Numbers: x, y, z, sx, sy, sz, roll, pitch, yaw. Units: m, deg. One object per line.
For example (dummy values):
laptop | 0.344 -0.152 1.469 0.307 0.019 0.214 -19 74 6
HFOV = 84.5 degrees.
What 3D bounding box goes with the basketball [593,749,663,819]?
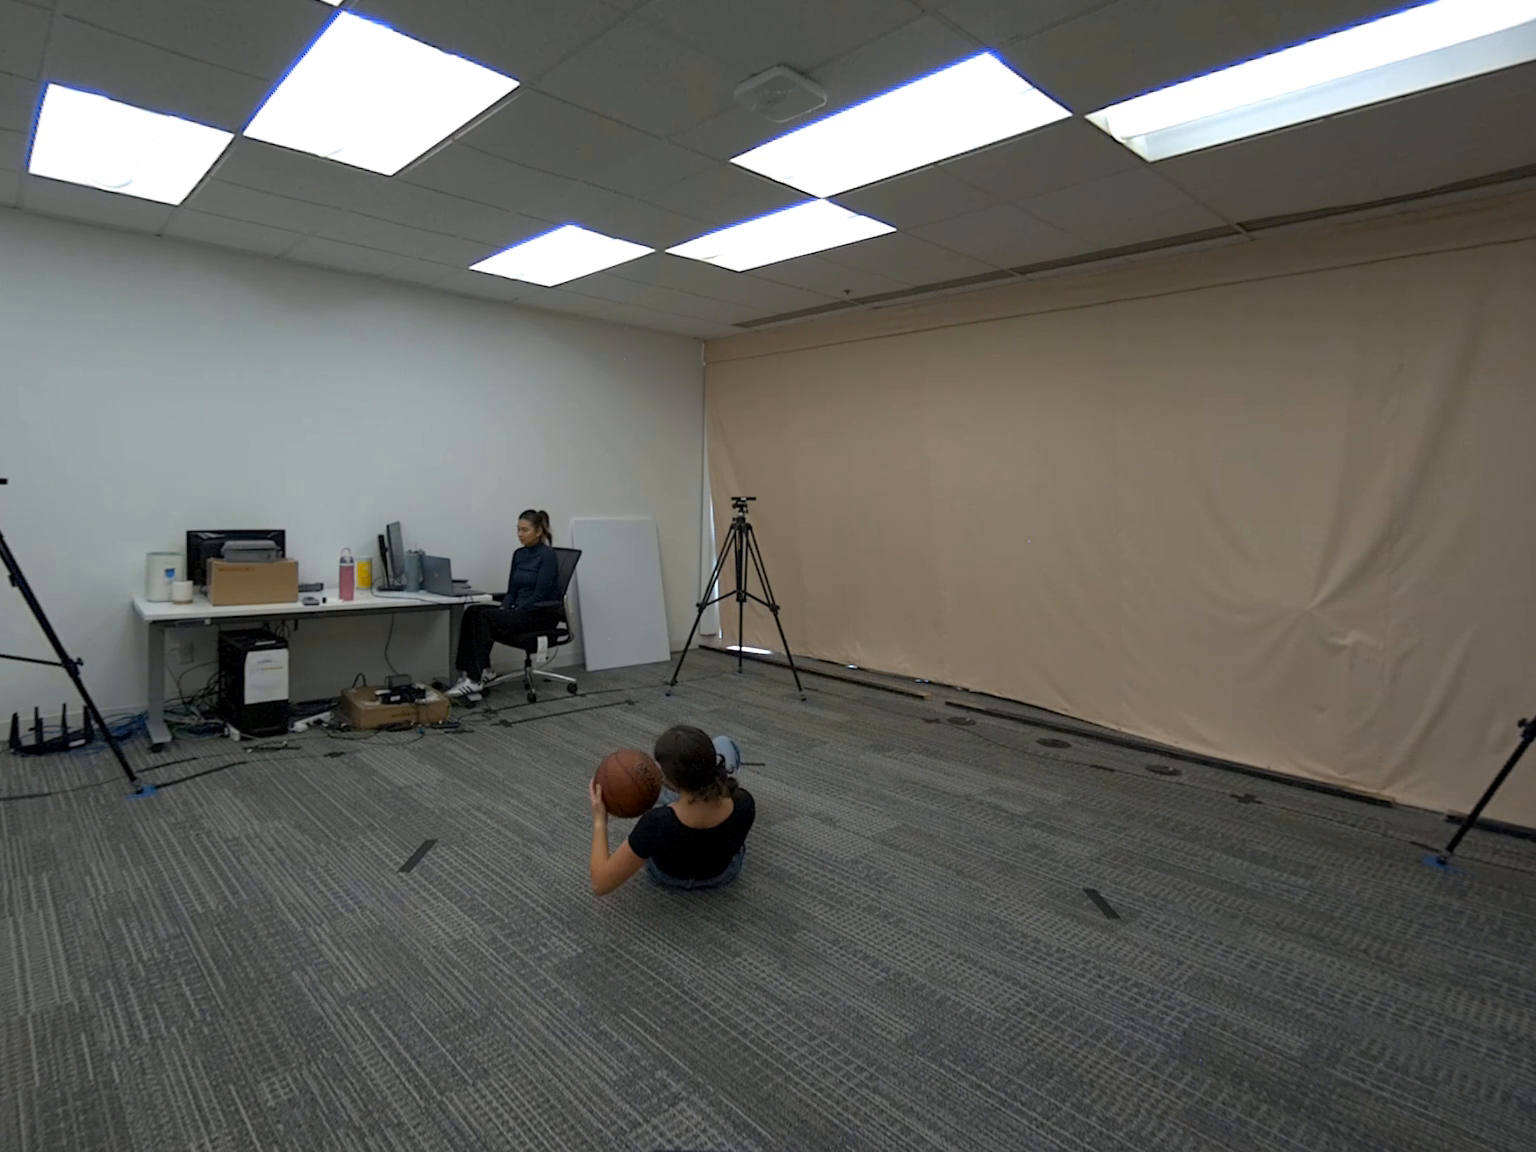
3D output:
basketball | -0.490 0.748 2.968 0.236 0.235 0.237 1 4 -1
